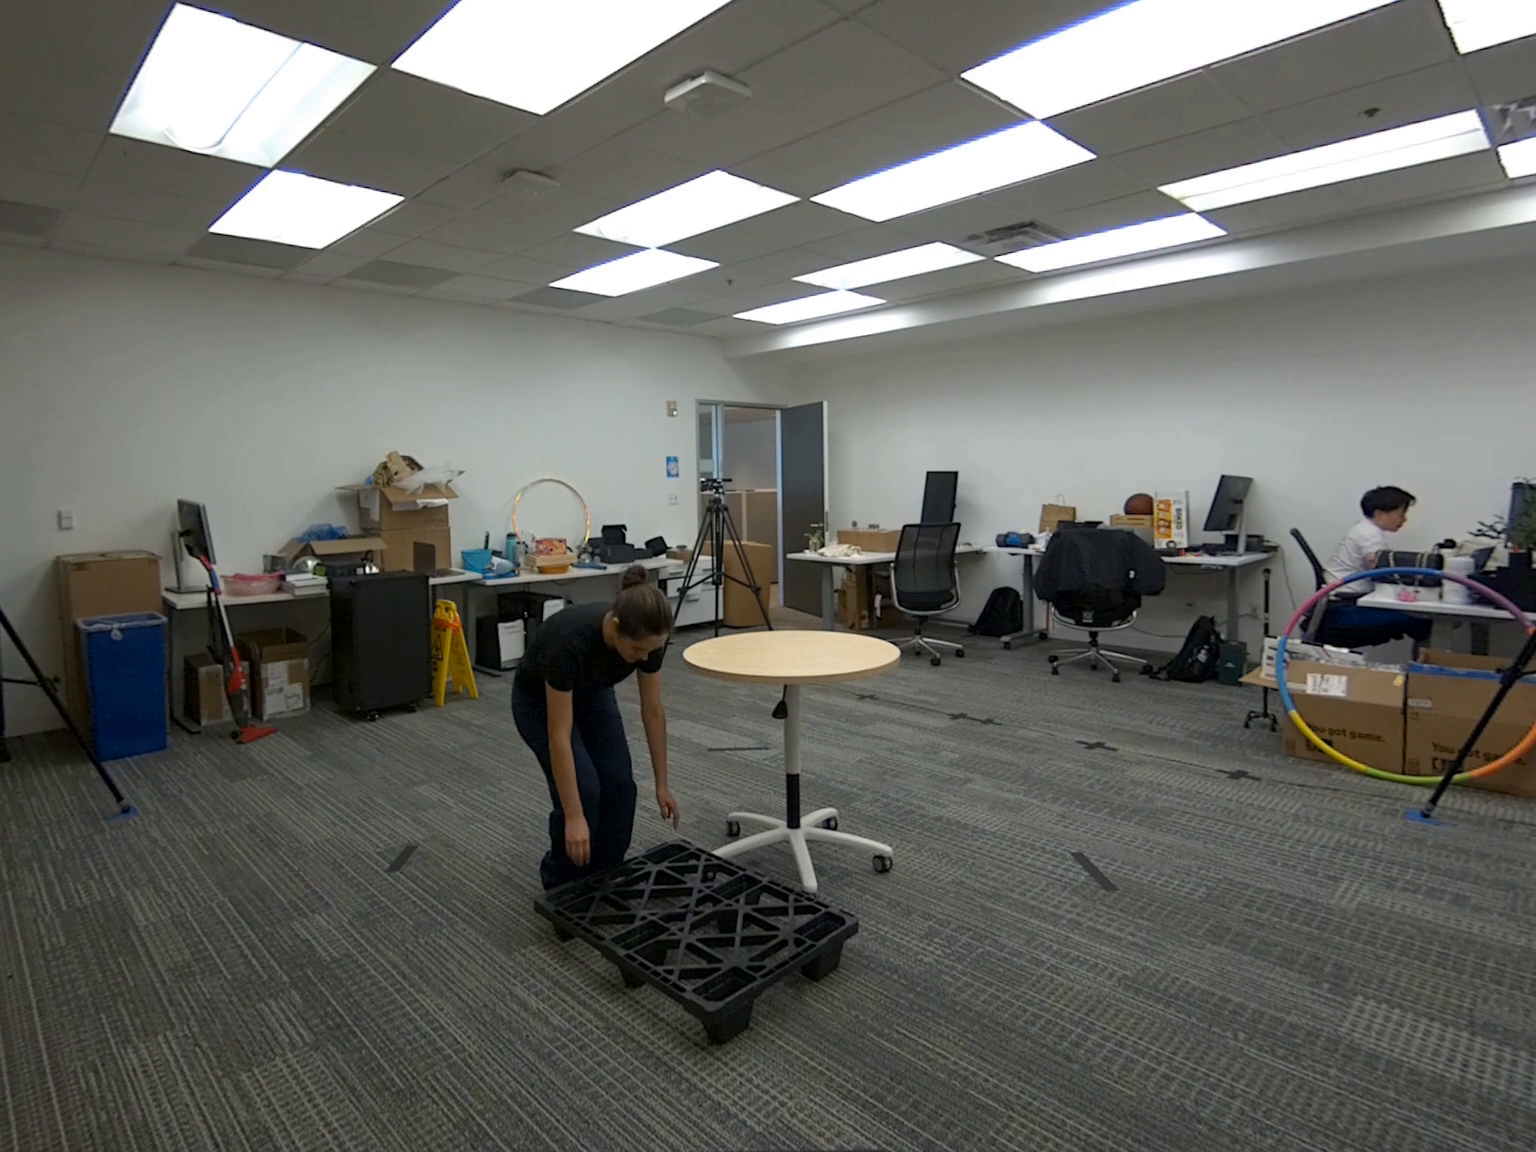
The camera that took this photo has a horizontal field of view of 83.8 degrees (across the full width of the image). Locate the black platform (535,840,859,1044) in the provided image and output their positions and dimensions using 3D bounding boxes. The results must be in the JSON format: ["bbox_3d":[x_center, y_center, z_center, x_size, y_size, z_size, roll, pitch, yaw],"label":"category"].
[{"bbox_3d":[-0.219,1.050,2.542,0.831,0.143,0.589,5,8,44],"label":"black platform"}]
